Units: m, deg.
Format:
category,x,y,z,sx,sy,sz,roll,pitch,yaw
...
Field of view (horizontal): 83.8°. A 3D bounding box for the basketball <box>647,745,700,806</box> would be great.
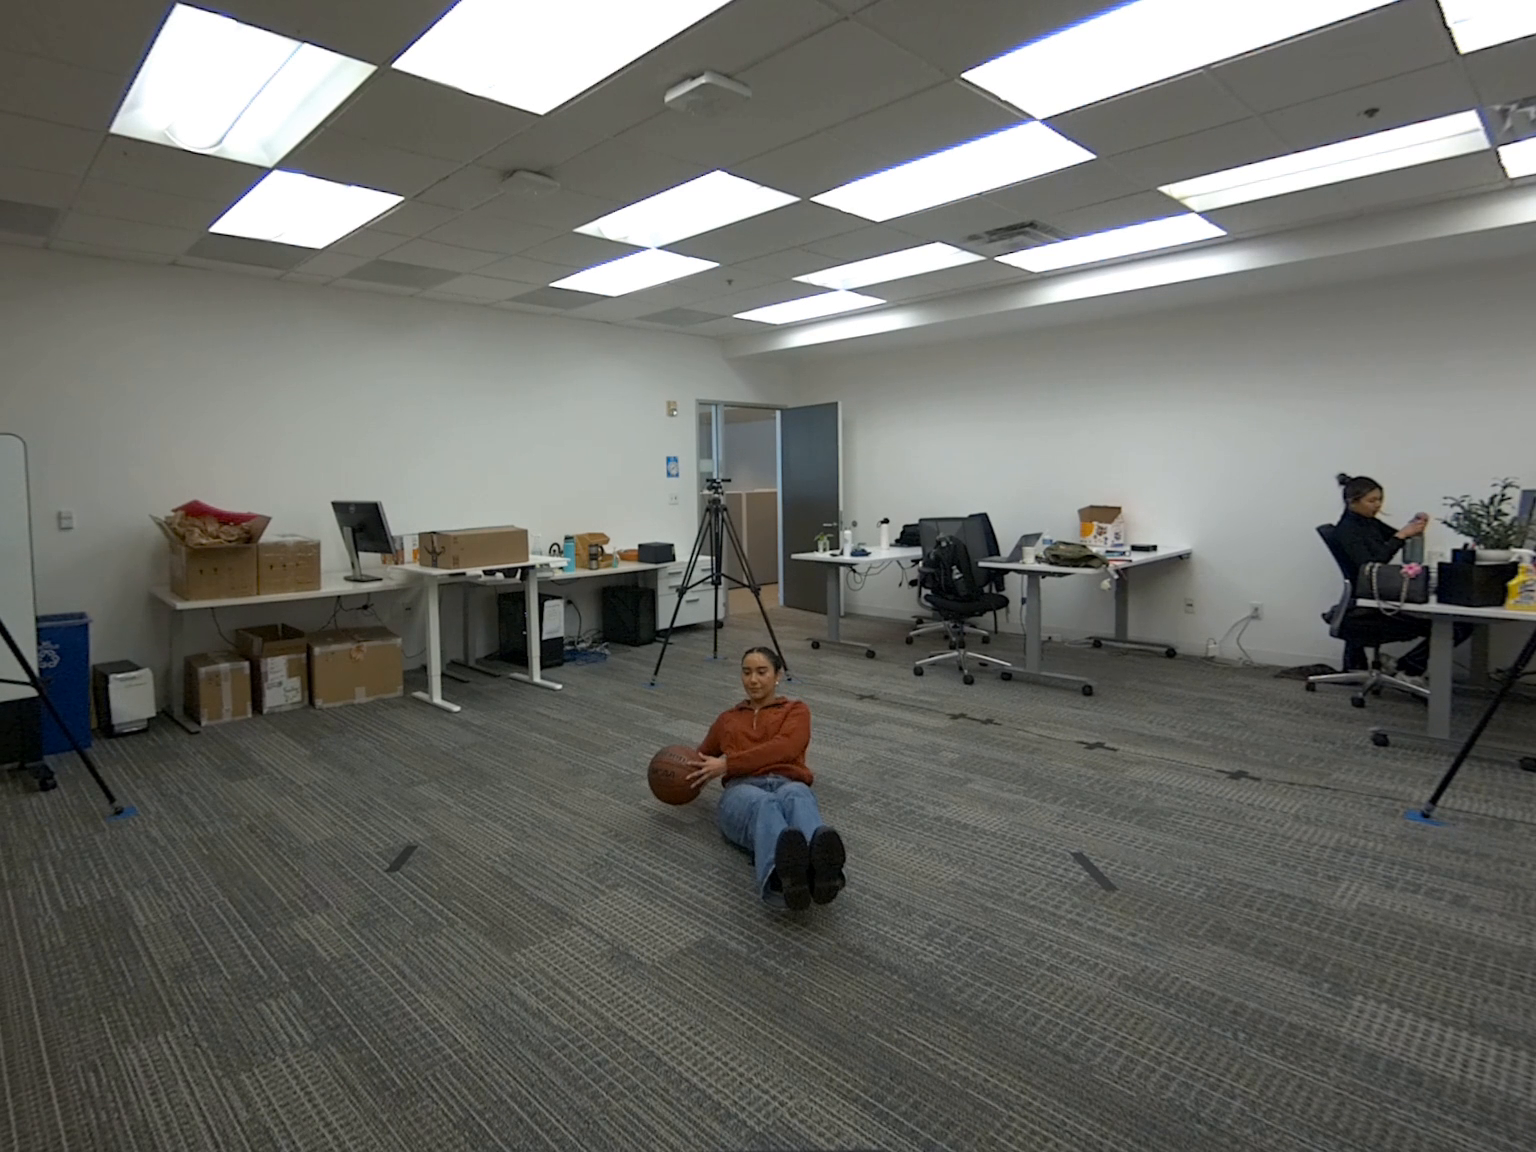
category,x,y,z,sx,sy,sz,roll,pitch,yaw
basketball,-0.343,0.772,3.424,0.236,0.235,0.237,-1,5,-2
